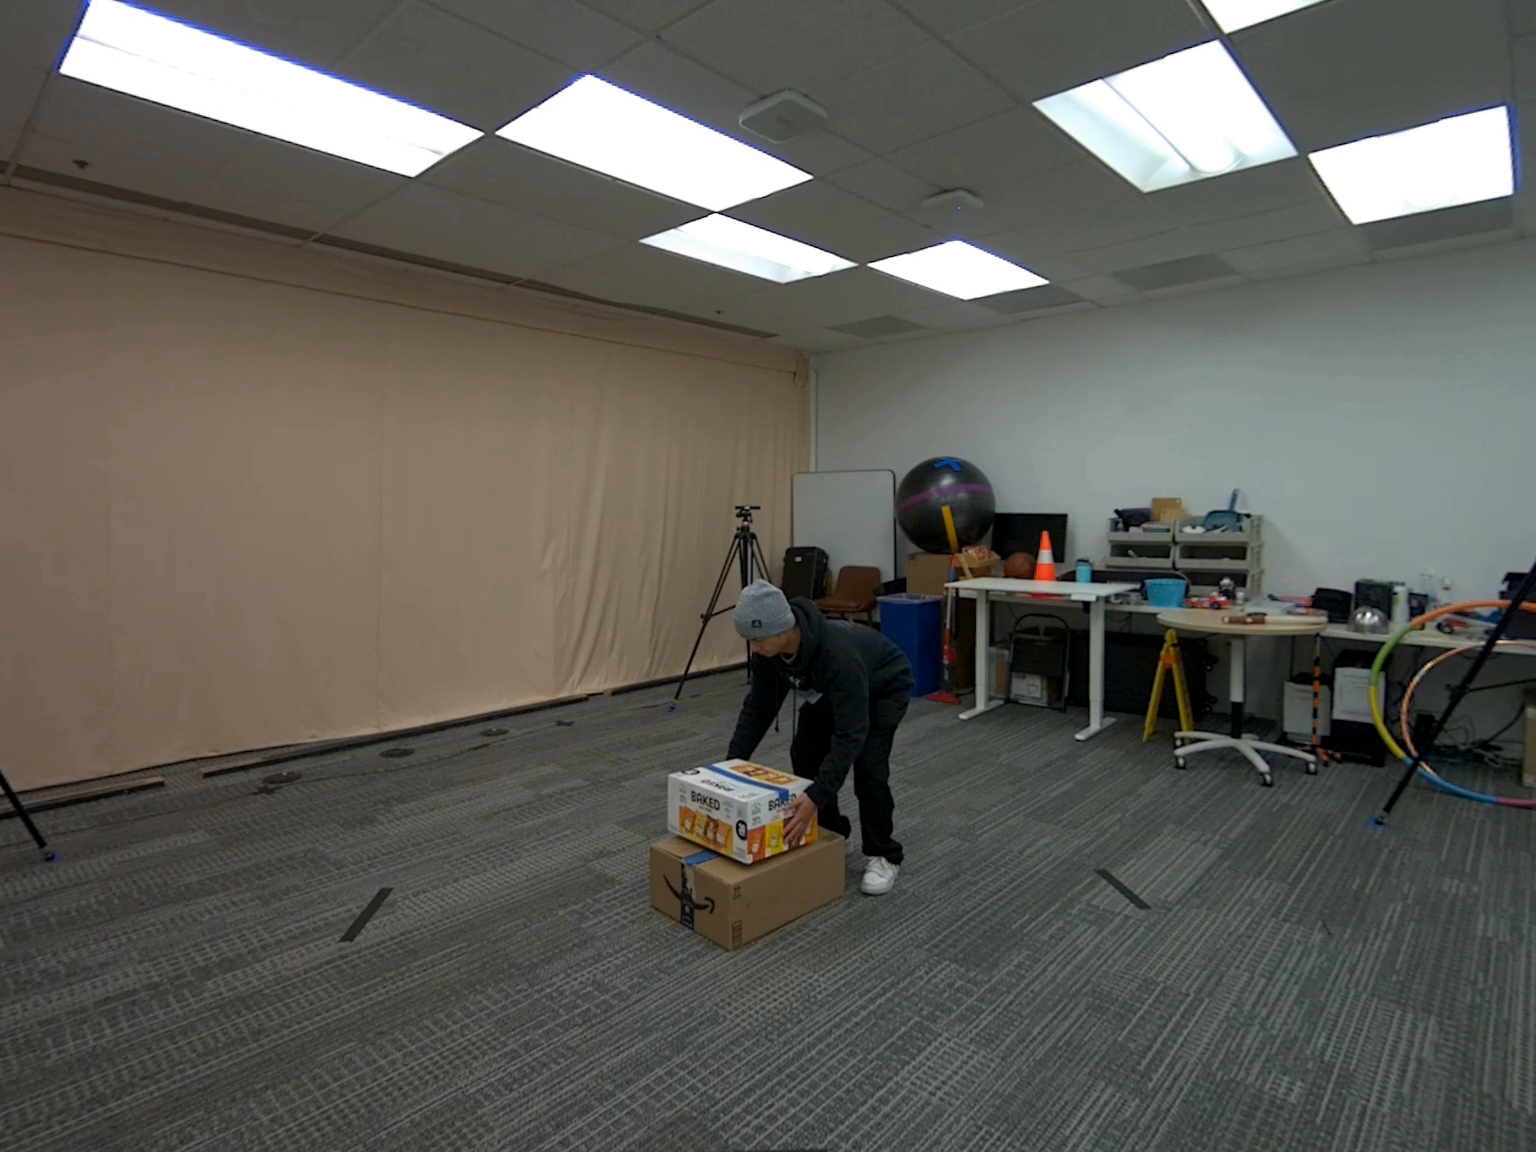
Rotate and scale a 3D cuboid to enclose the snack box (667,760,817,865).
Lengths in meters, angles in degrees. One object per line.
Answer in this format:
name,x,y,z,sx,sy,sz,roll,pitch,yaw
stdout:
snack box,-0.092,0.811,2.957,0.329,0.205,0.418,-1,3,-44
